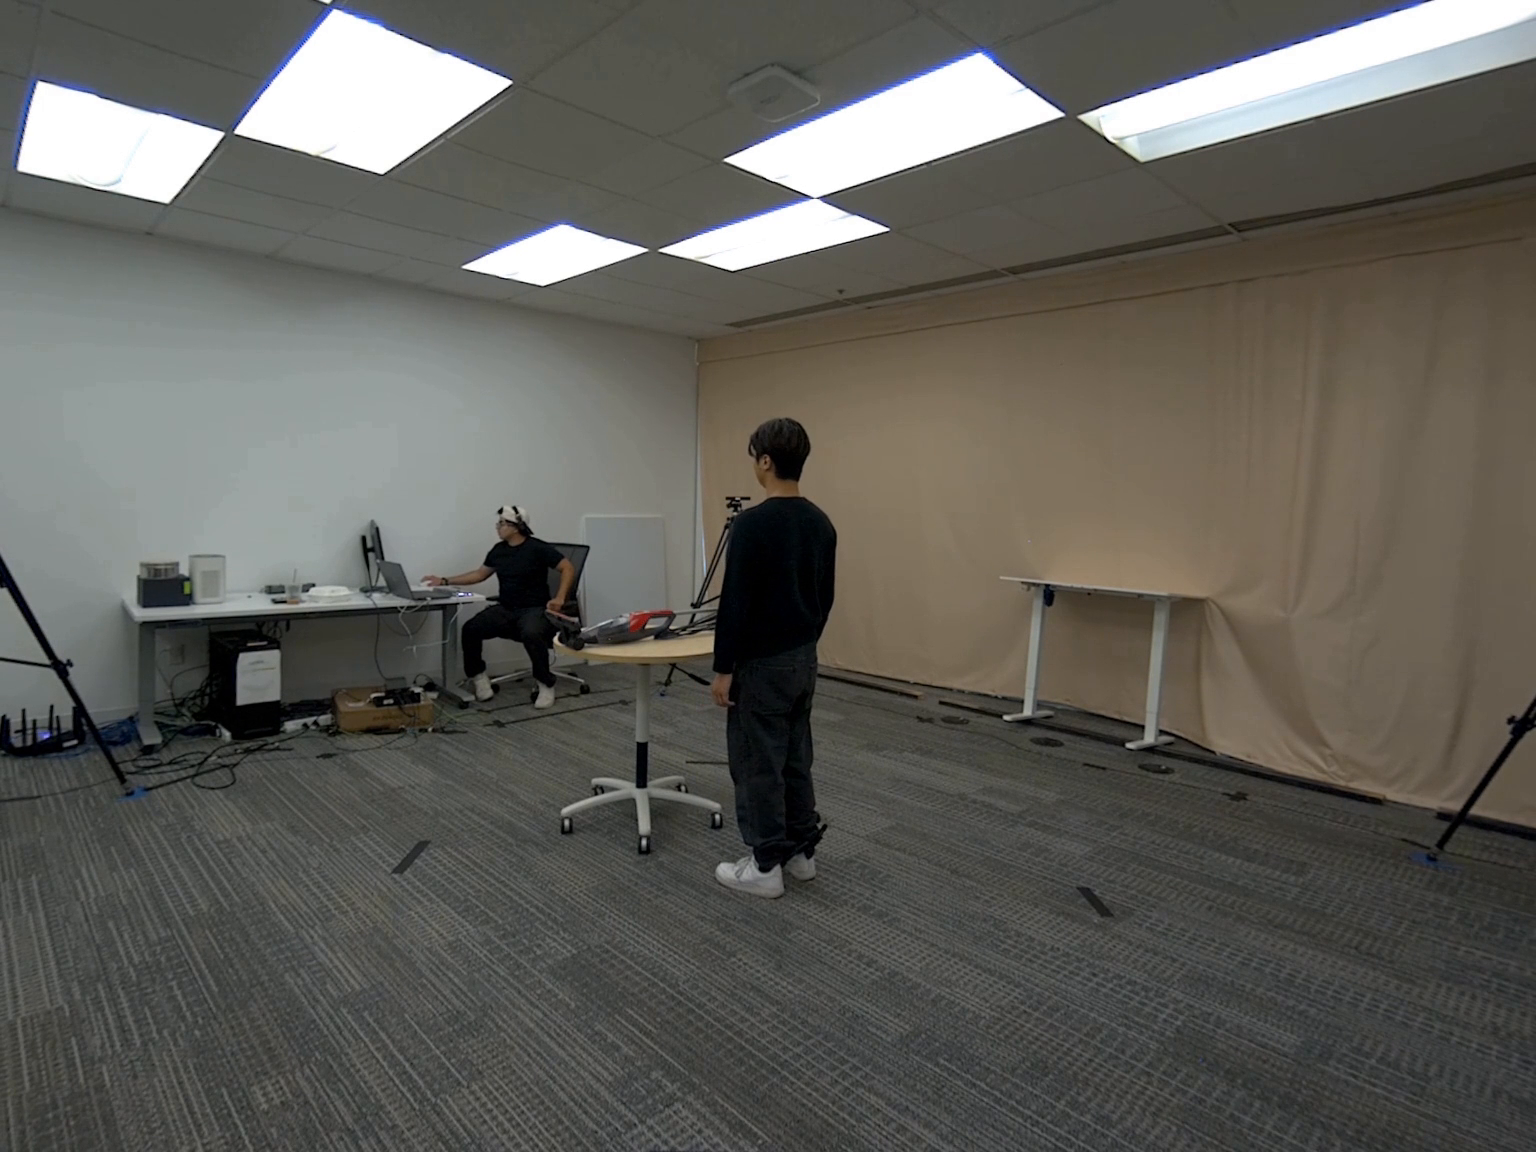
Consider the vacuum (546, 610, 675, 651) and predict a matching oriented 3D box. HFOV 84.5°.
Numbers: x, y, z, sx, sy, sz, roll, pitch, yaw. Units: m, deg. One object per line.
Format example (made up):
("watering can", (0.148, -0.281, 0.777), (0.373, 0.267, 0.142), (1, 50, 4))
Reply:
("vacuum", (-0.412, 0.214, 3.664), (1.026, 0.143, 0.260), (-2, 12, -37))
